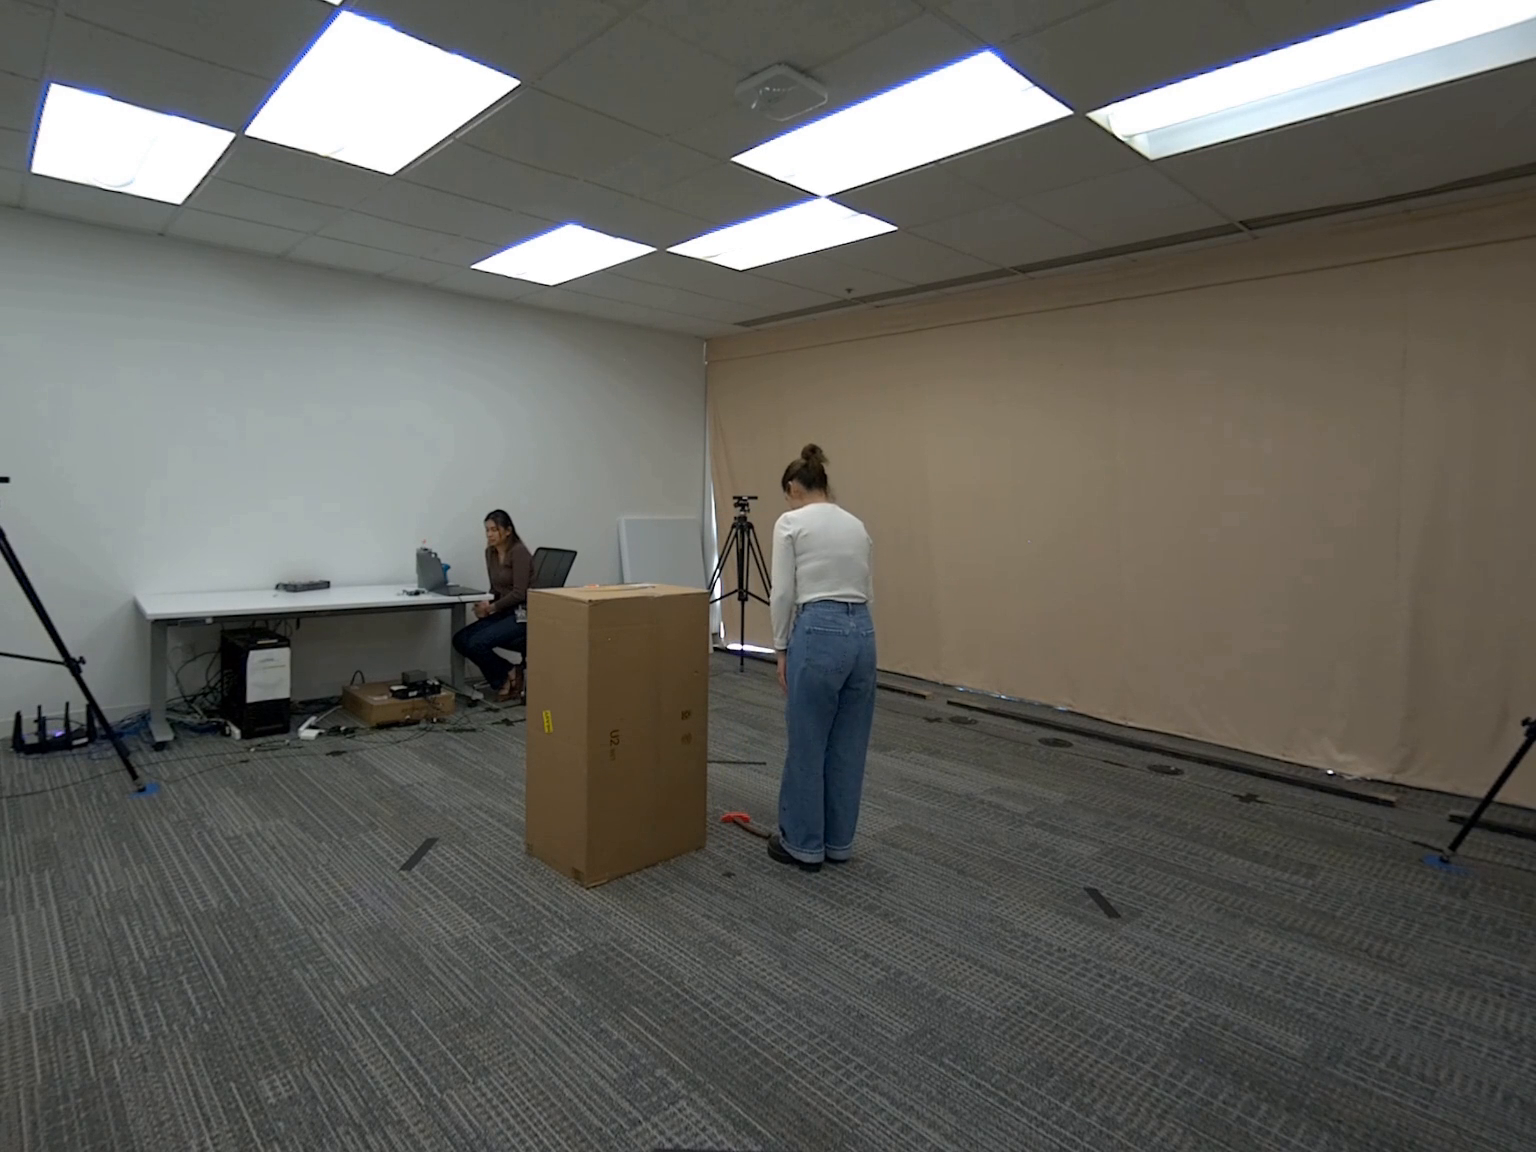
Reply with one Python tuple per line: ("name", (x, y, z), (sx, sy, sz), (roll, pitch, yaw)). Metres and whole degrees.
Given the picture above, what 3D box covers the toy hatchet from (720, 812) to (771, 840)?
("toy hatchet", (-0.077, 1.051, 3.569), (0.277, 0.029, 0.128), (8, 6, 41))
